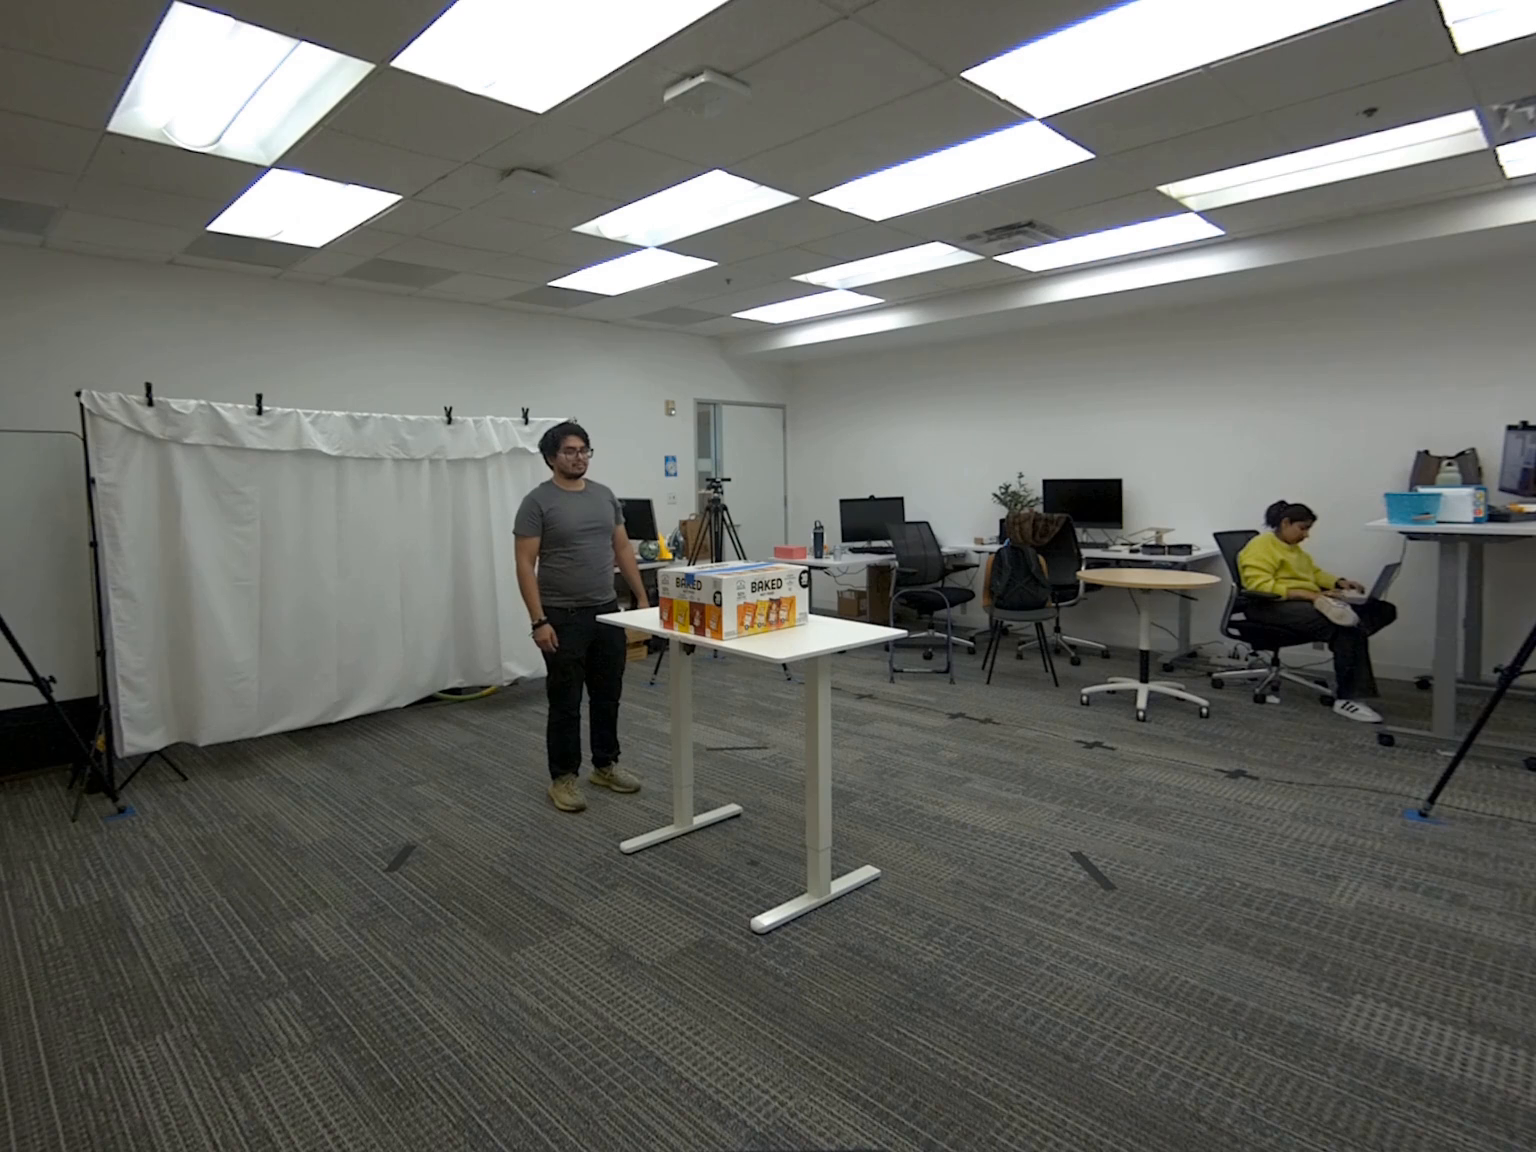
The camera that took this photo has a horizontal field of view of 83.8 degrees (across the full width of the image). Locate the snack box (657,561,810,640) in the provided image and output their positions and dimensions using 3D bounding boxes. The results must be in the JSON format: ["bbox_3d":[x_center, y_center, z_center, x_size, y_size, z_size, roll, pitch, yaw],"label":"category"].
[{"bbox_3d":[-0.117,0.073,2.976,0.394,0.205,0.351,-7,9,-43],"label":"snack box"}]
